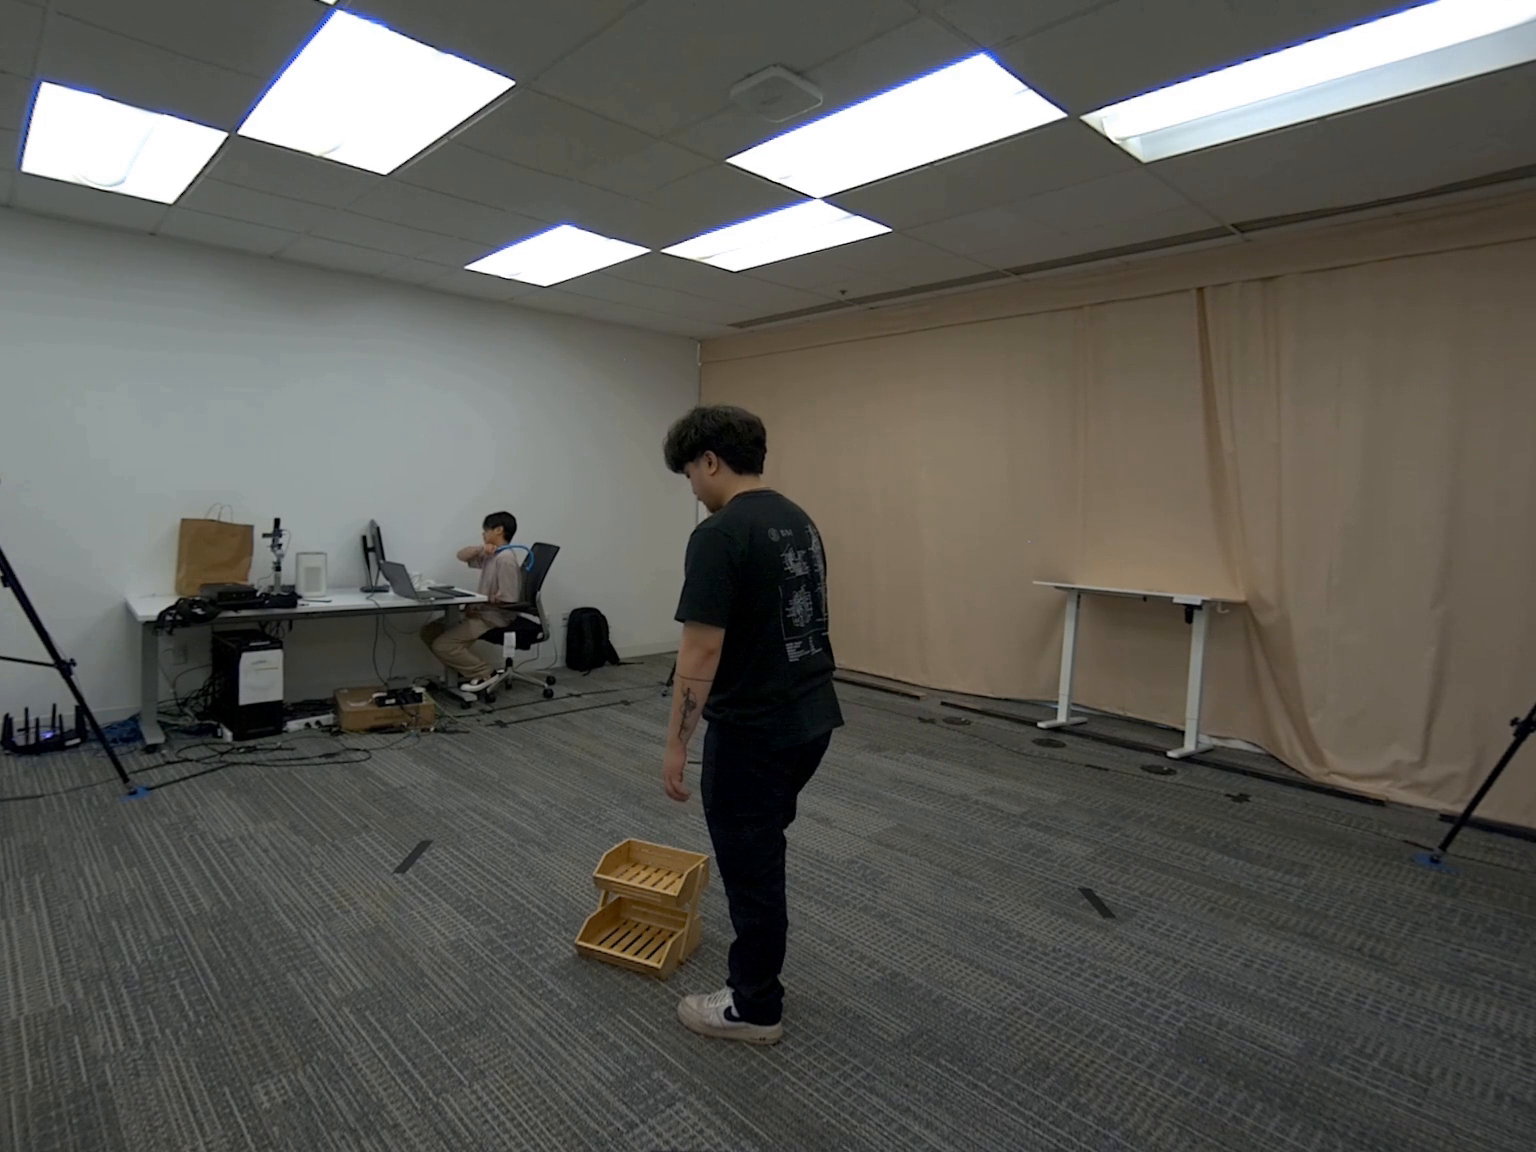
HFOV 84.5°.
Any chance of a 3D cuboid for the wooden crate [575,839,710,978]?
[{"bbox_3d":[-0.394,1.020,2.589,0.331,0.273,0.297,3,4,24],"label":"wooden crate"}]
